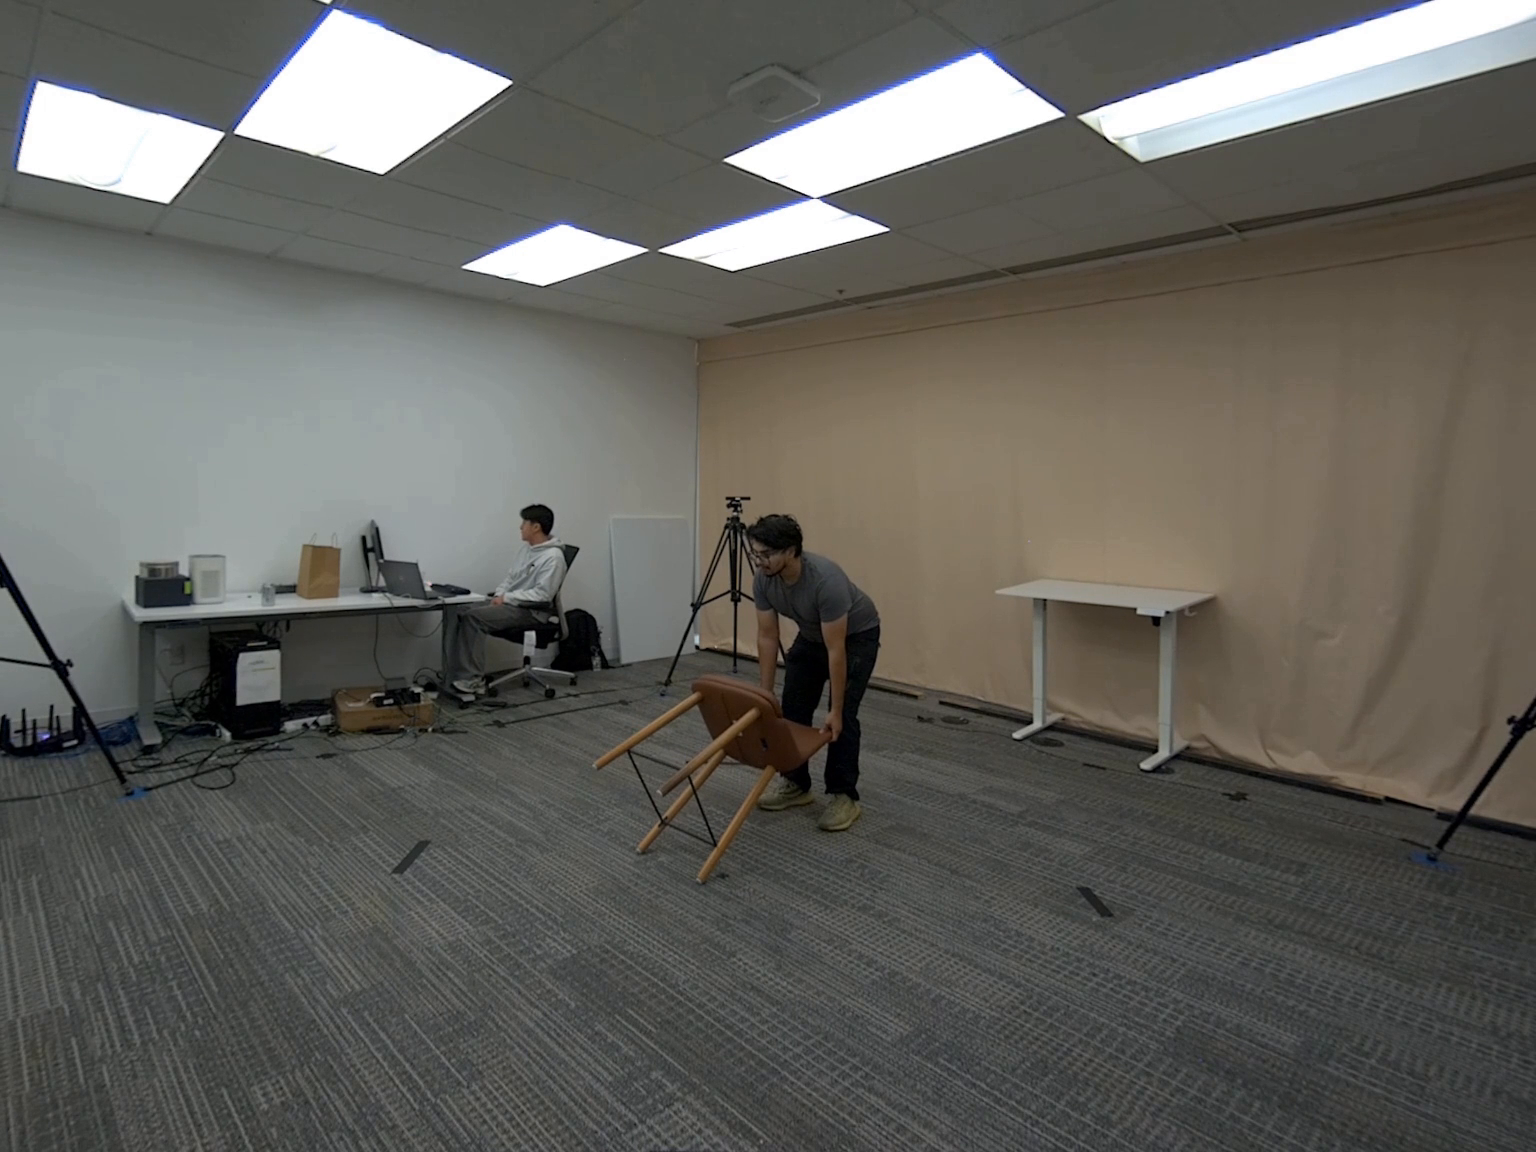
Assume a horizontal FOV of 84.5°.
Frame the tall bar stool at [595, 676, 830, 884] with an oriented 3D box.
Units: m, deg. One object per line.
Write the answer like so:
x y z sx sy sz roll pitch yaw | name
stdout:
-0.180 0.684 3.334 0.468 0.458 0.885 5 32 44 | tall bar stool
